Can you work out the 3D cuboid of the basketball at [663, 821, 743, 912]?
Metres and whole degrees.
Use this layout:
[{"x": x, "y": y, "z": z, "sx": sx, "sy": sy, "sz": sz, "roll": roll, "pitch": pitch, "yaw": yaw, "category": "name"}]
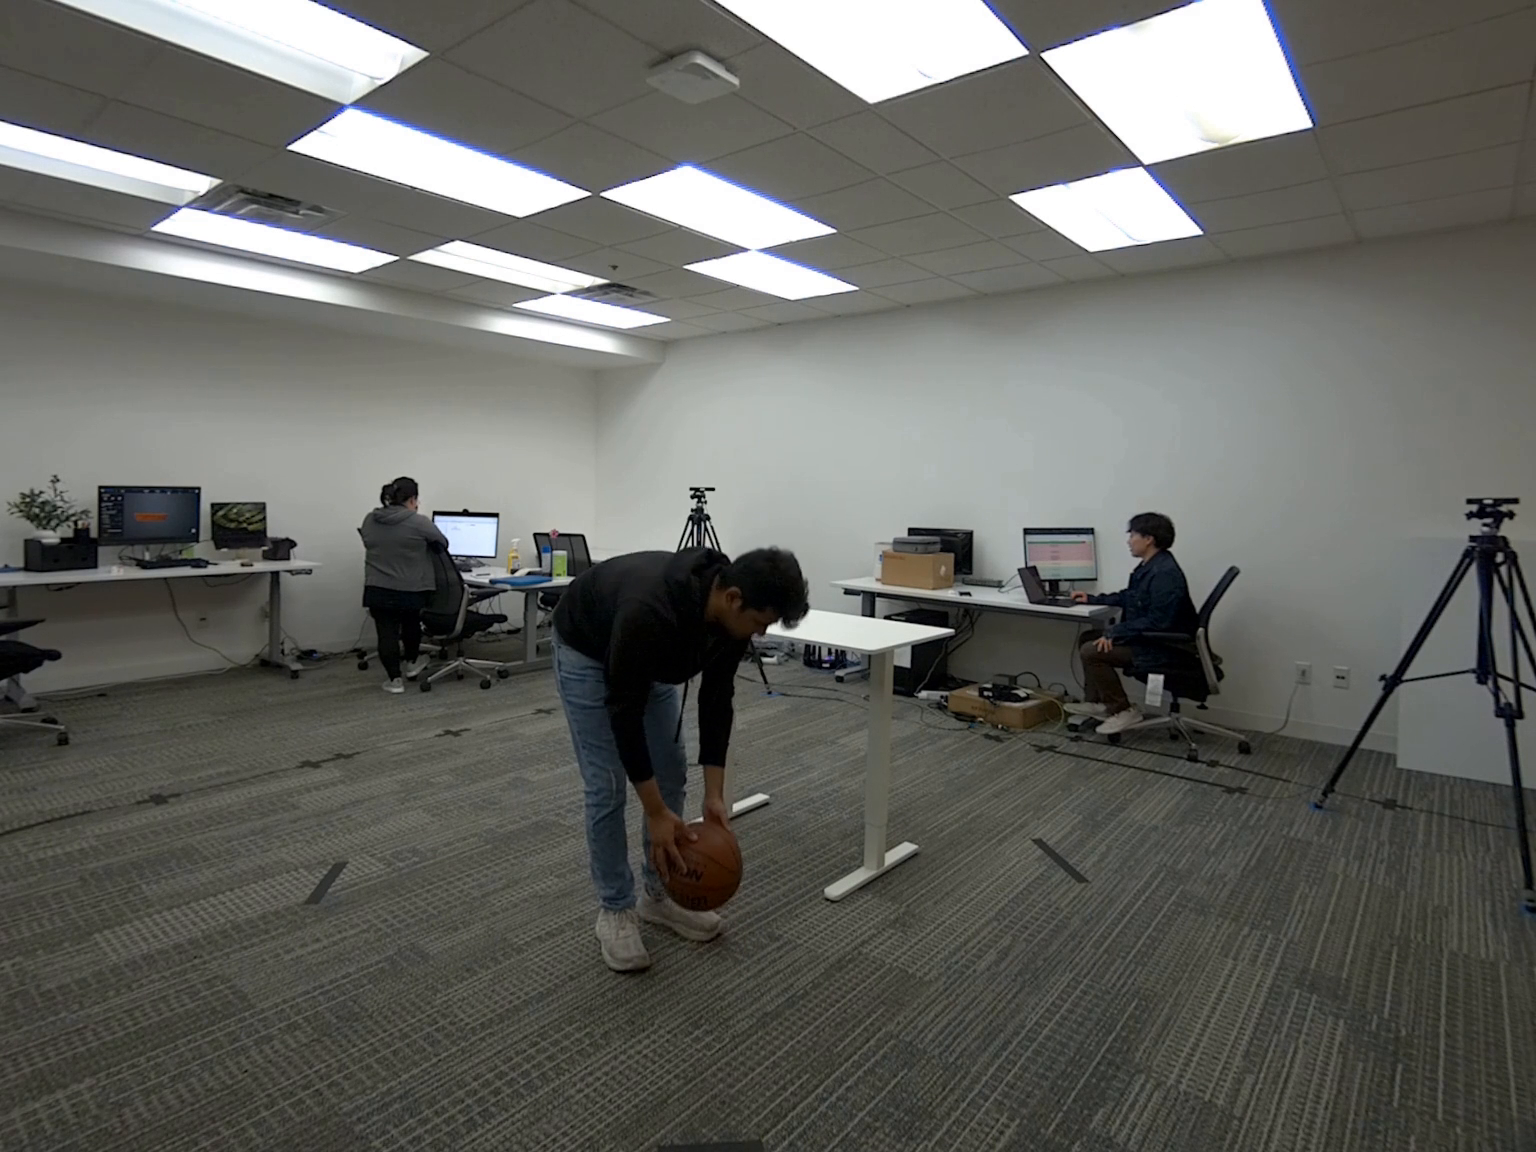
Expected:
[{"x": -0.189, "y": 0.810, "z": 2.399, "sx": 0.235, "sy": 0.235, "sz": 0.237, "roll": 1, "pitch": 4, "yaw": -2, "category": "basketball"}]
